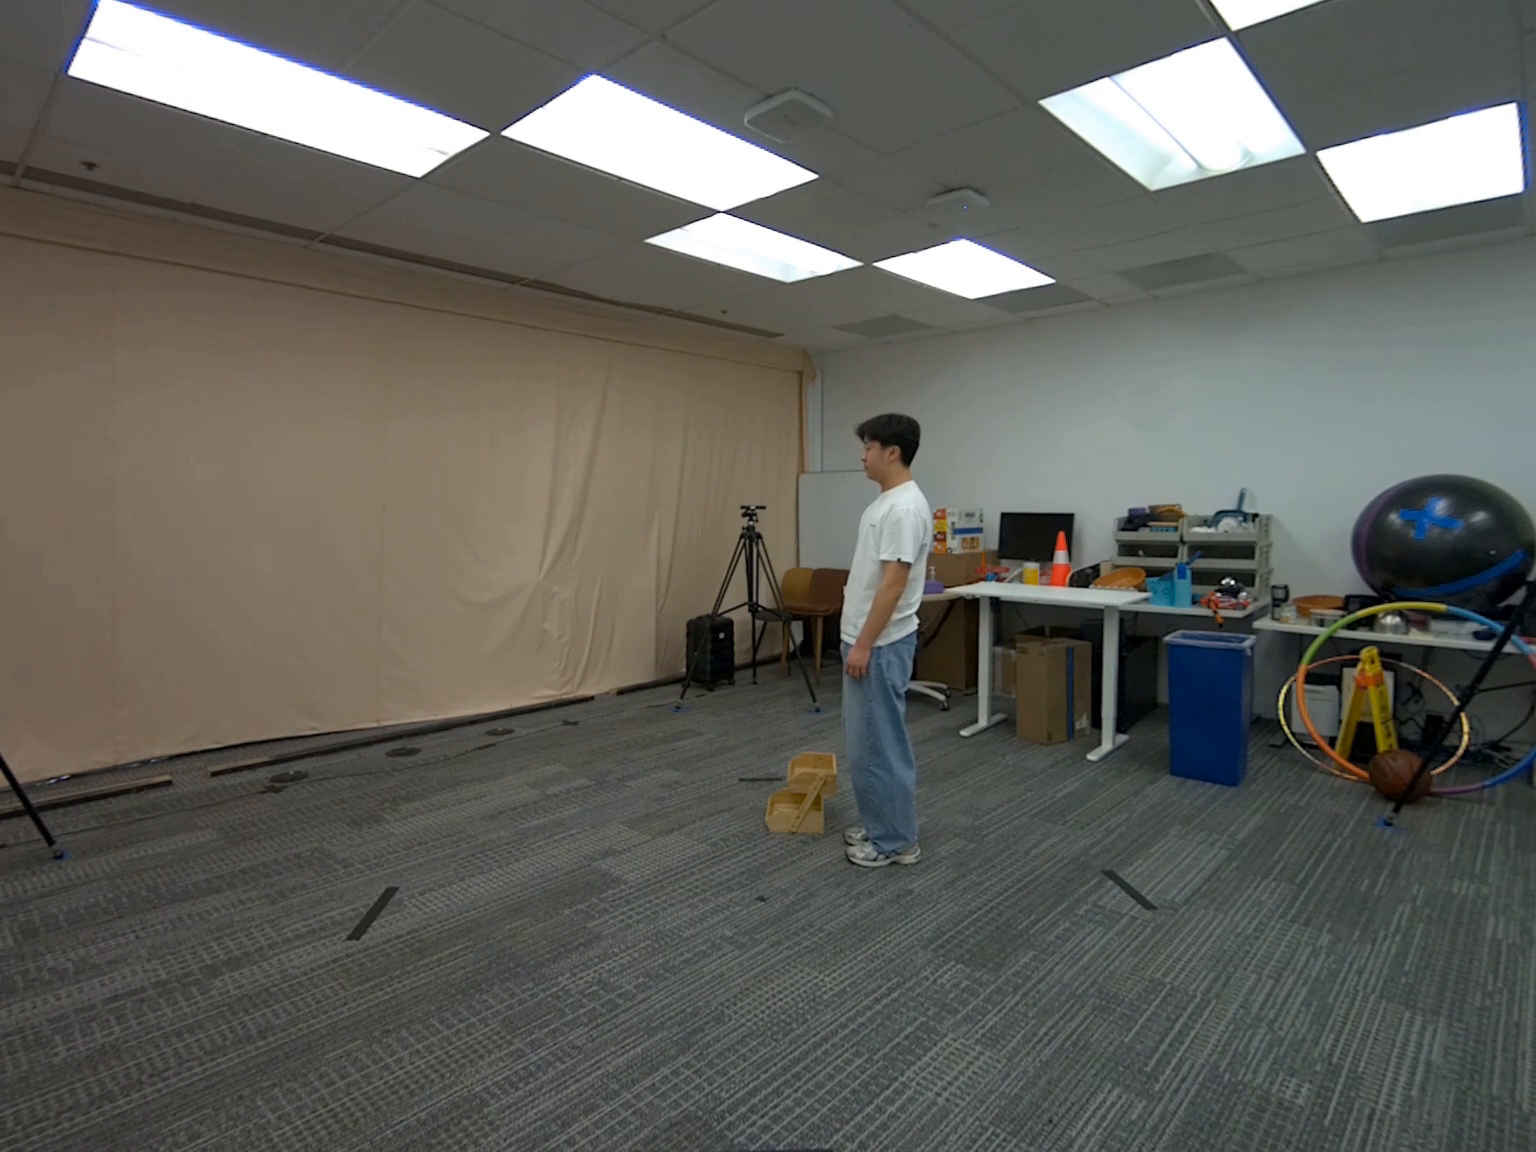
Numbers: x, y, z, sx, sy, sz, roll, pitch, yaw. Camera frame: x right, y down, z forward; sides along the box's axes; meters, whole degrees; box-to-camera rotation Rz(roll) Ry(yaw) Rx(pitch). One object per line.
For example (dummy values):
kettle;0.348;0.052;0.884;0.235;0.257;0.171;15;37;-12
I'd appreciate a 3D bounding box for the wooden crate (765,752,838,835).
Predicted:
wooden crate;0.144;0.951;3.738;0.304;0.273;0.323;0;3;5
